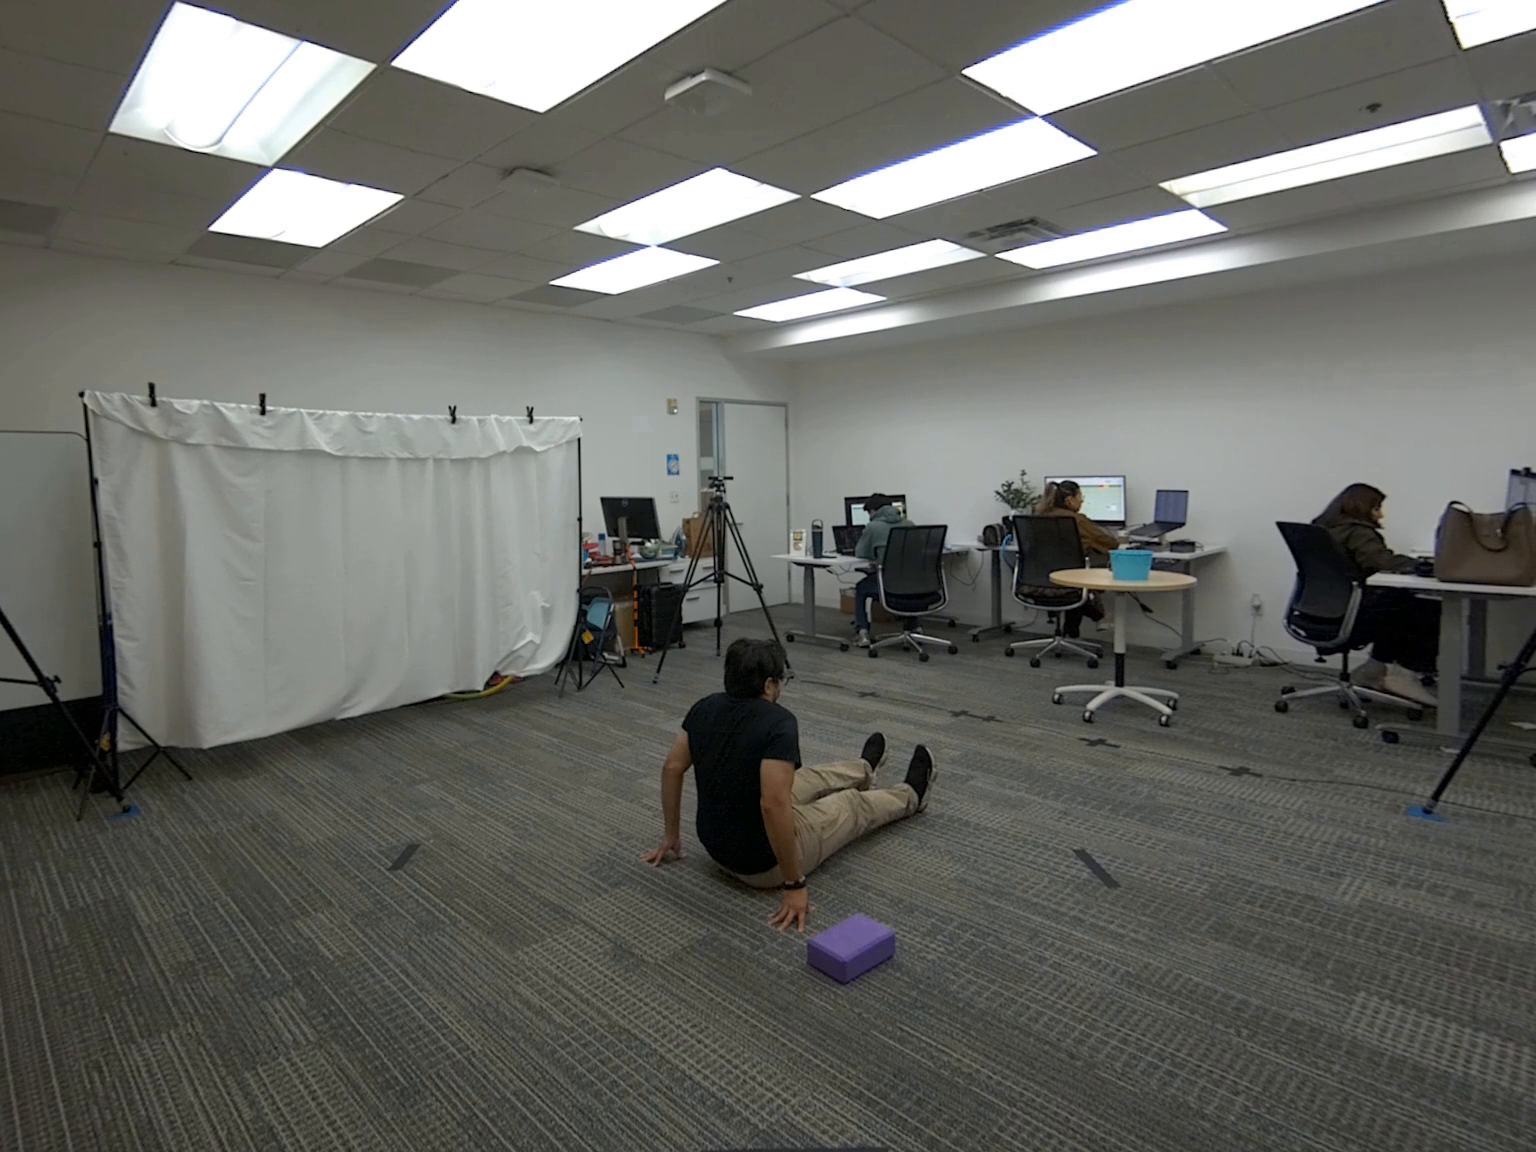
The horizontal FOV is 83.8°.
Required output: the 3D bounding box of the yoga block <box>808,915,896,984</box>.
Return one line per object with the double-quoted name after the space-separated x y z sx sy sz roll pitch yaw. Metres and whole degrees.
0.248 1.067 2.464 0.223 0.076 0.154 -7 9 -41 "yoga block"
